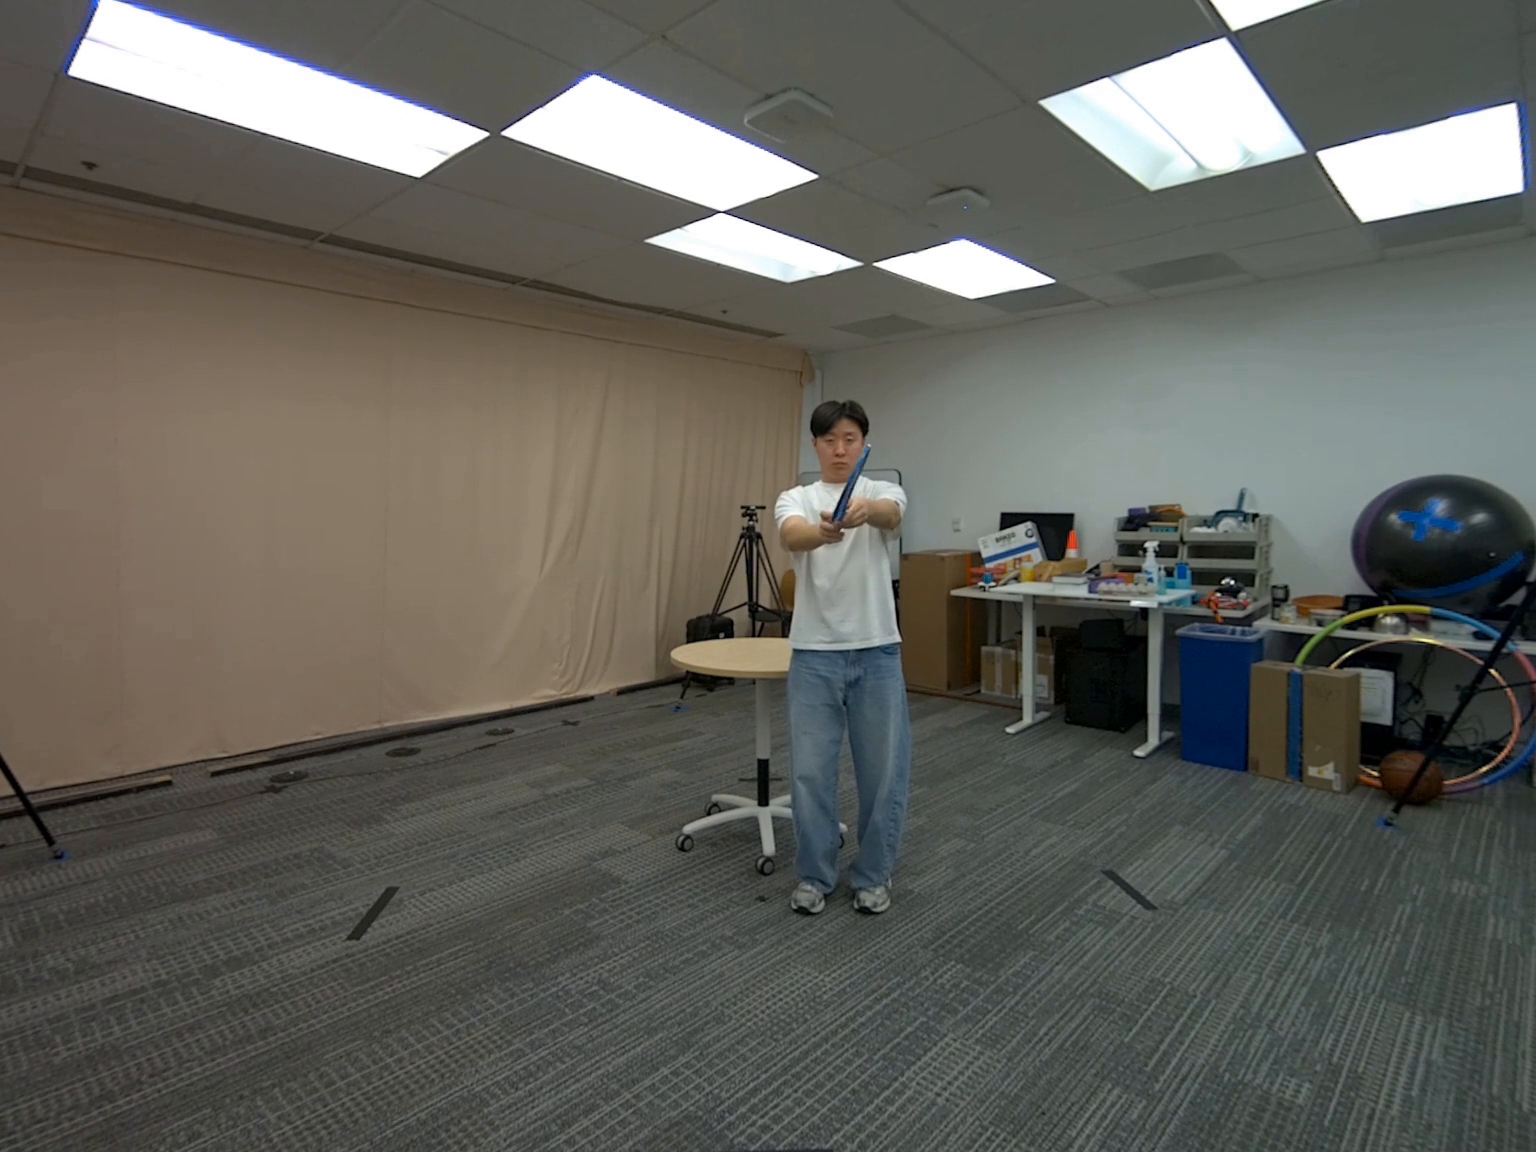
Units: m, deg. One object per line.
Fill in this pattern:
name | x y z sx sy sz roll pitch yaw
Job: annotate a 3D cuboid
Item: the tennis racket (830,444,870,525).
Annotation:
tennis racket | 0.205 -0.214 2.245 0.032 0.214 0.429 24 -20 4
